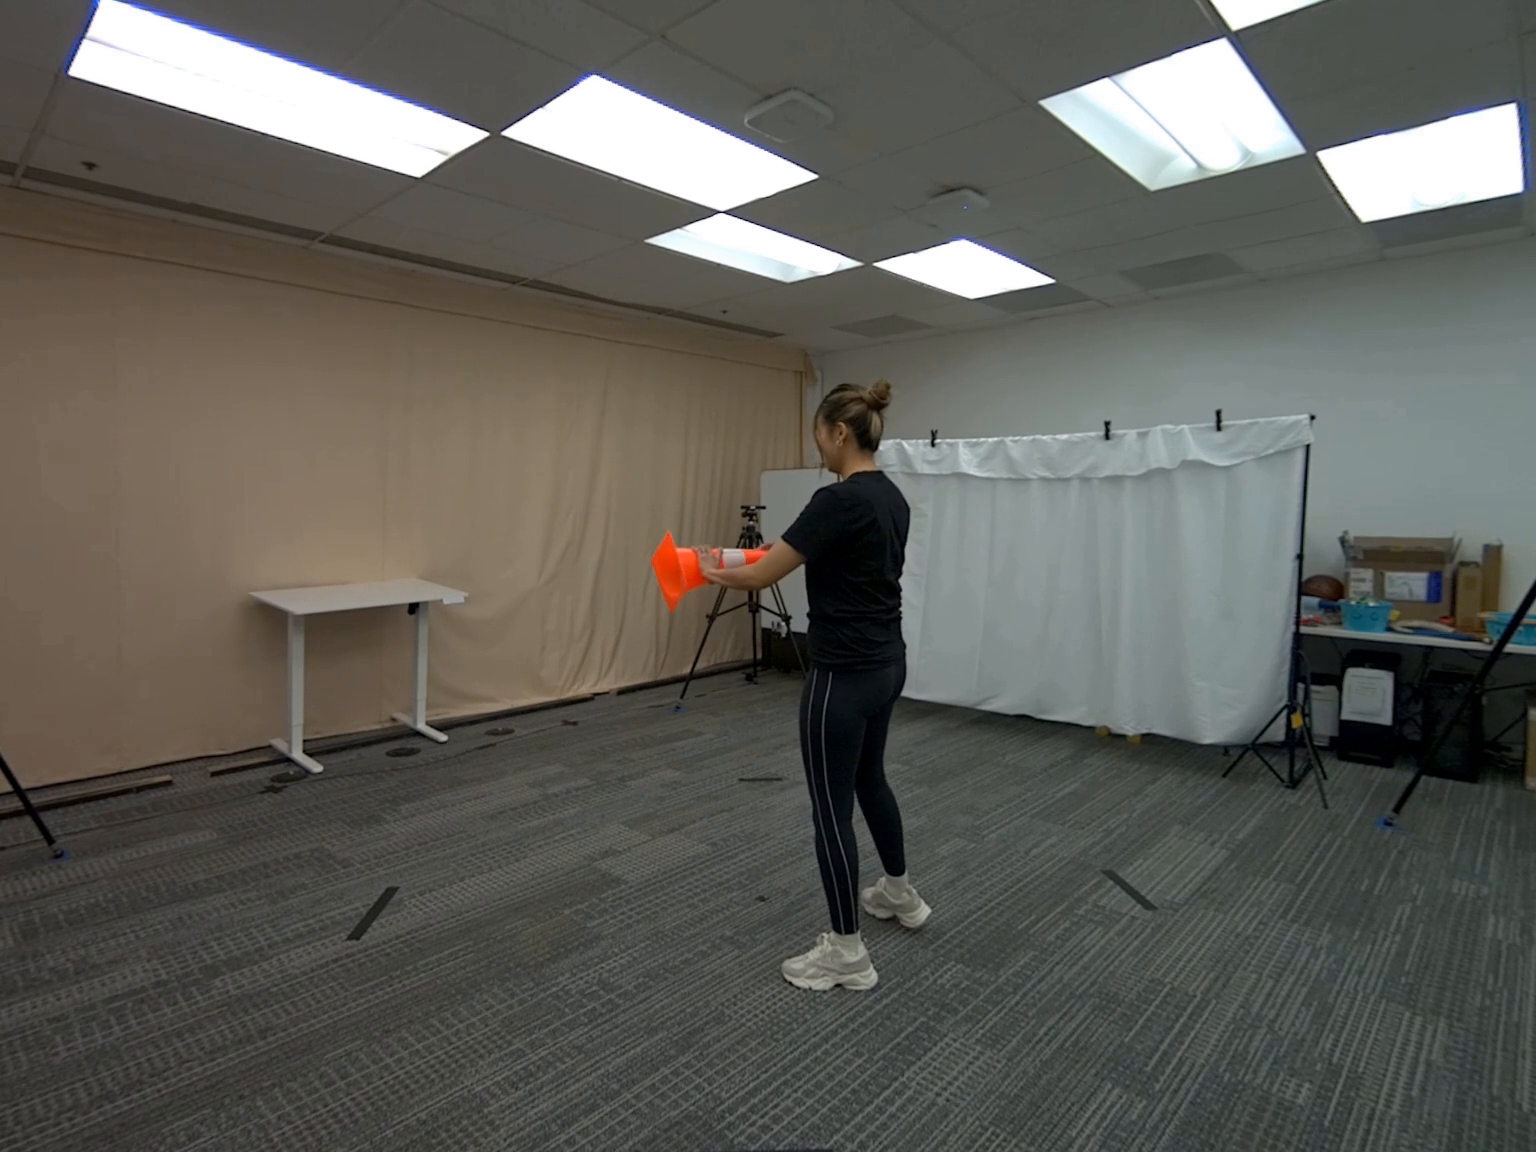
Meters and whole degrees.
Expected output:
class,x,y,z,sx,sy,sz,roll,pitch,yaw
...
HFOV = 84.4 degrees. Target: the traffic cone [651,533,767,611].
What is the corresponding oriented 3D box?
class,x,y,z,sx,sy,sz,roll,pitch,yaw
traffic cone,-0.134,-0.028,2.699,0.375,0.209,0.204,-8,-23,-24
